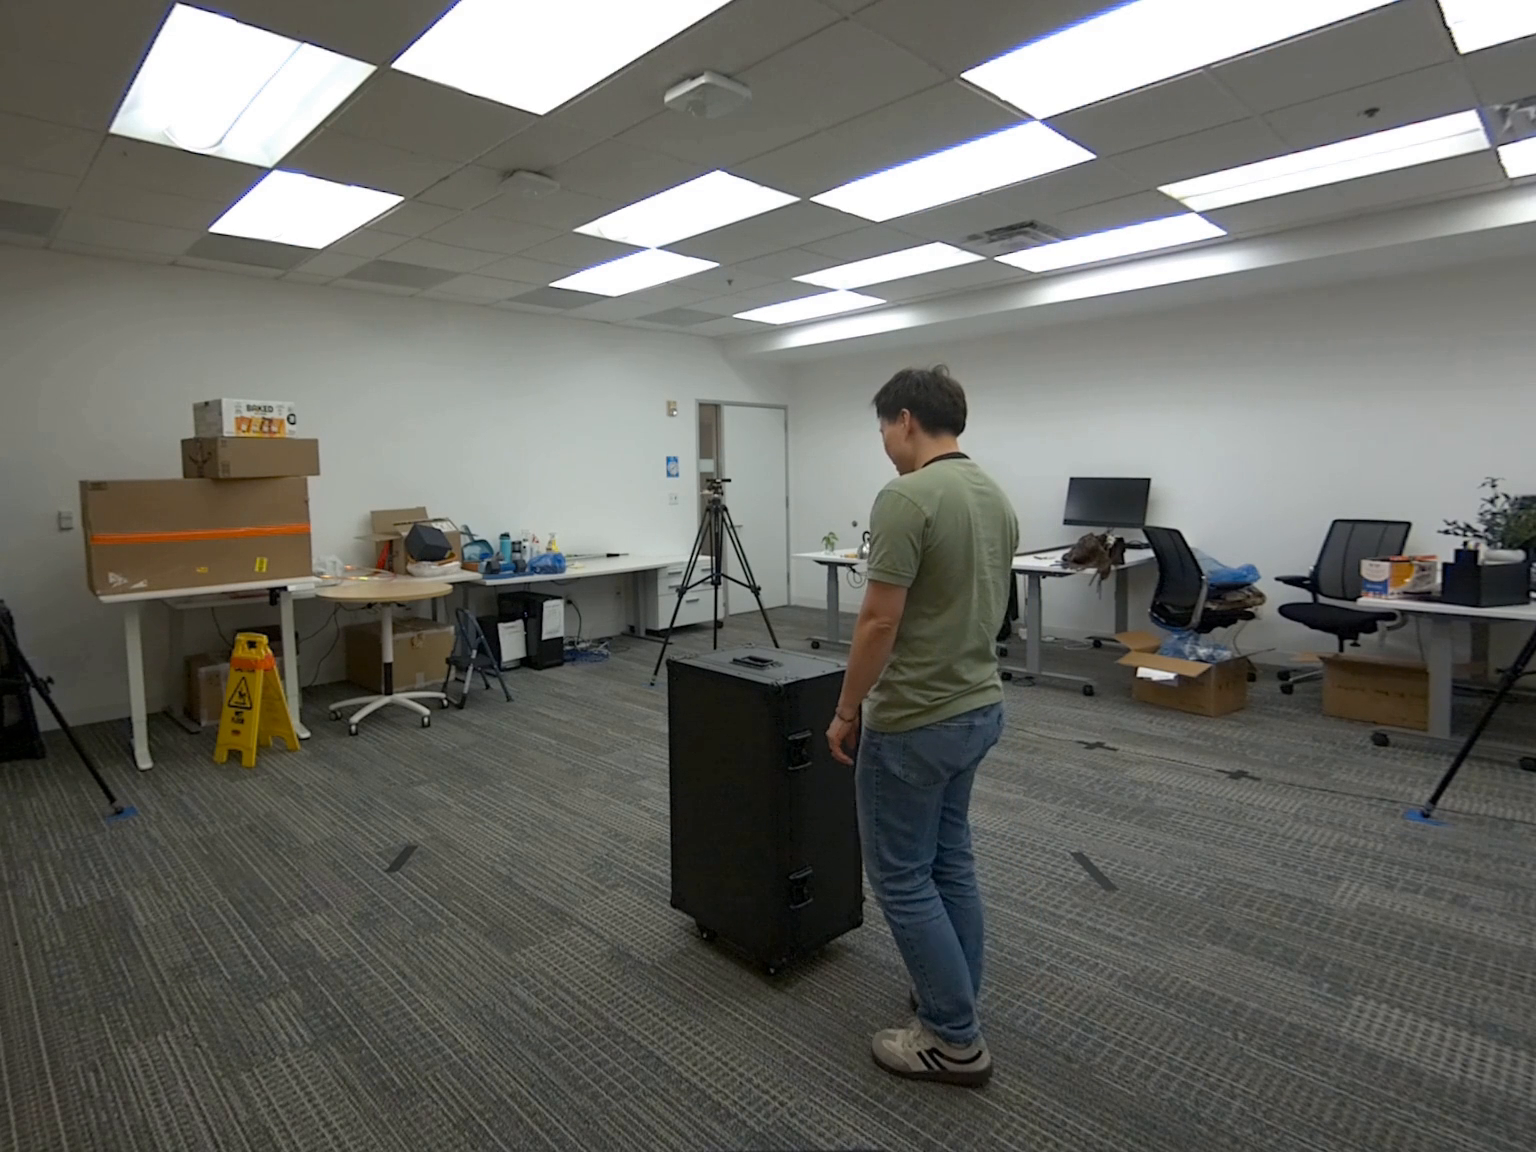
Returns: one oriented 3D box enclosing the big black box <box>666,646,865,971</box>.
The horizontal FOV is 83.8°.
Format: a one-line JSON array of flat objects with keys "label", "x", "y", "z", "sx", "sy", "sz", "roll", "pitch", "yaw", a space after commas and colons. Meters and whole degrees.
[{"label": "big black box", "x": -0.007, "y": 0.677, "z": 2.588, "sx": 0.385, "sy": 0.859, "sz": 0.537, "roll": -3, "pitch": 4, "yaw": -43}]
